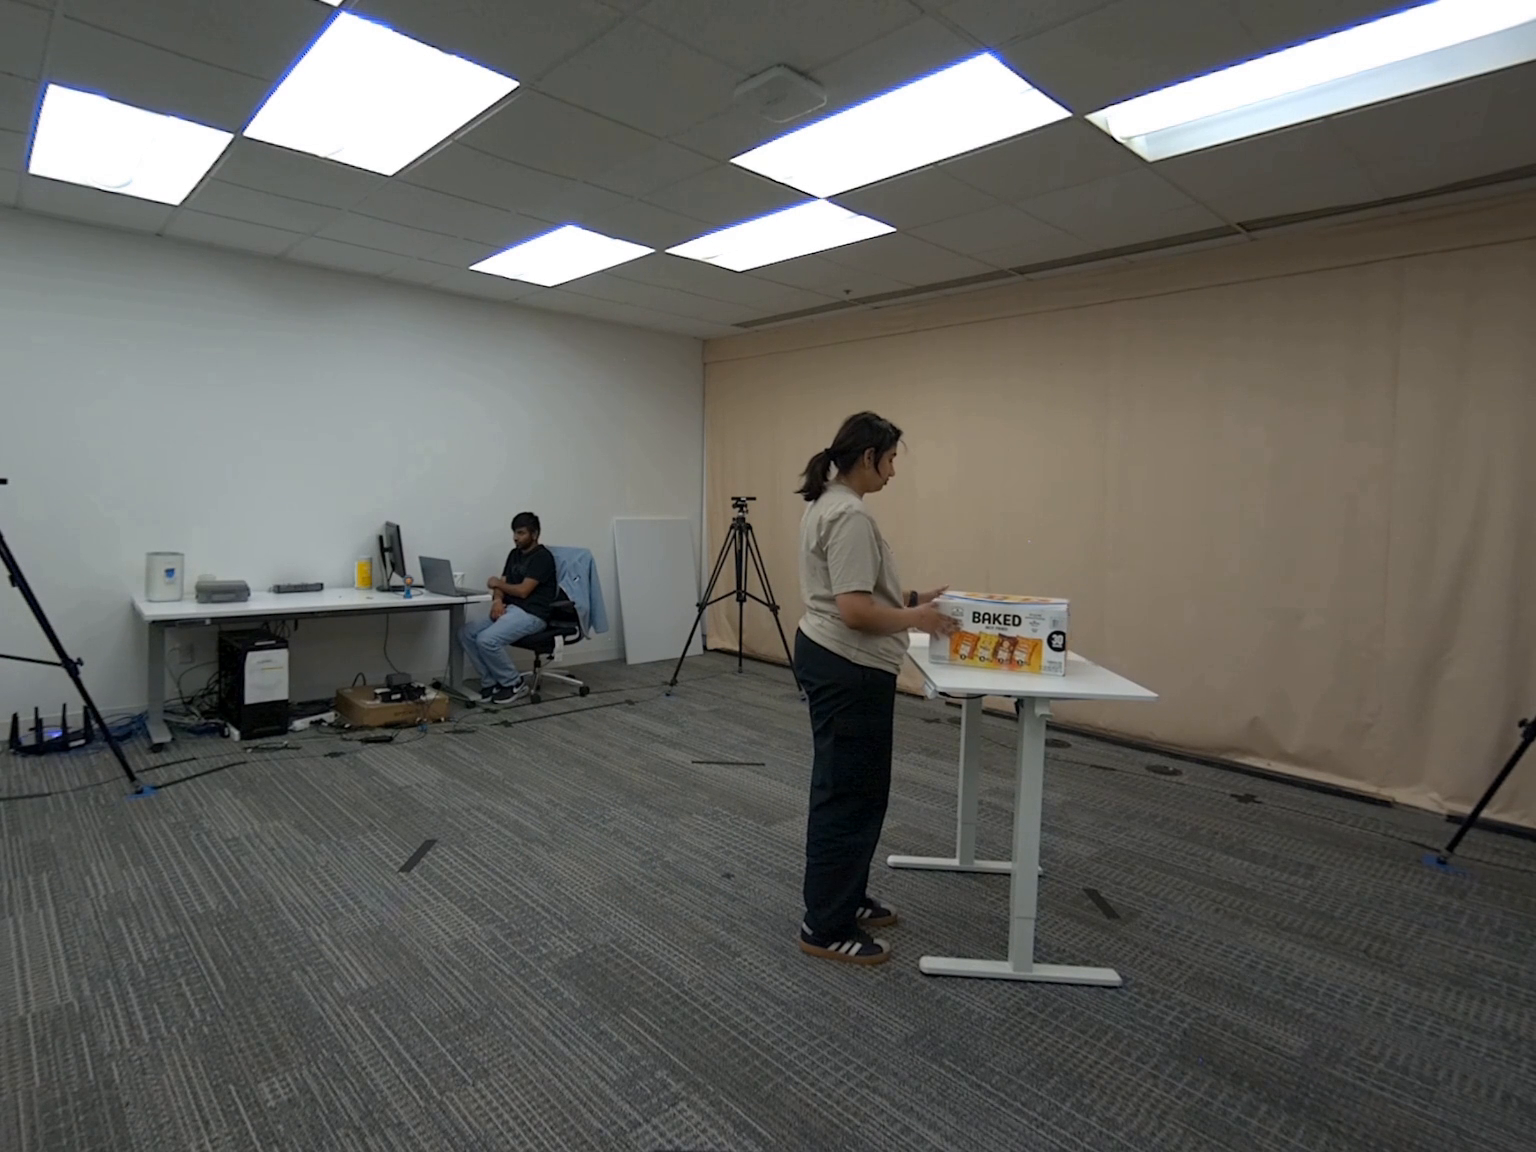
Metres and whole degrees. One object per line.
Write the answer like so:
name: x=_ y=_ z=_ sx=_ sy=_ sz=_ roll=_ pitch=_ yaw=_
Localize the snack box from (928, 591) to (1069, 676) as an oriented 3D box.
snack box: x=0.757 y=0.178 z=2.756 sx=0.412 sy=0.205 sz=0.335 roll=3 pitch=5 yaw=21
